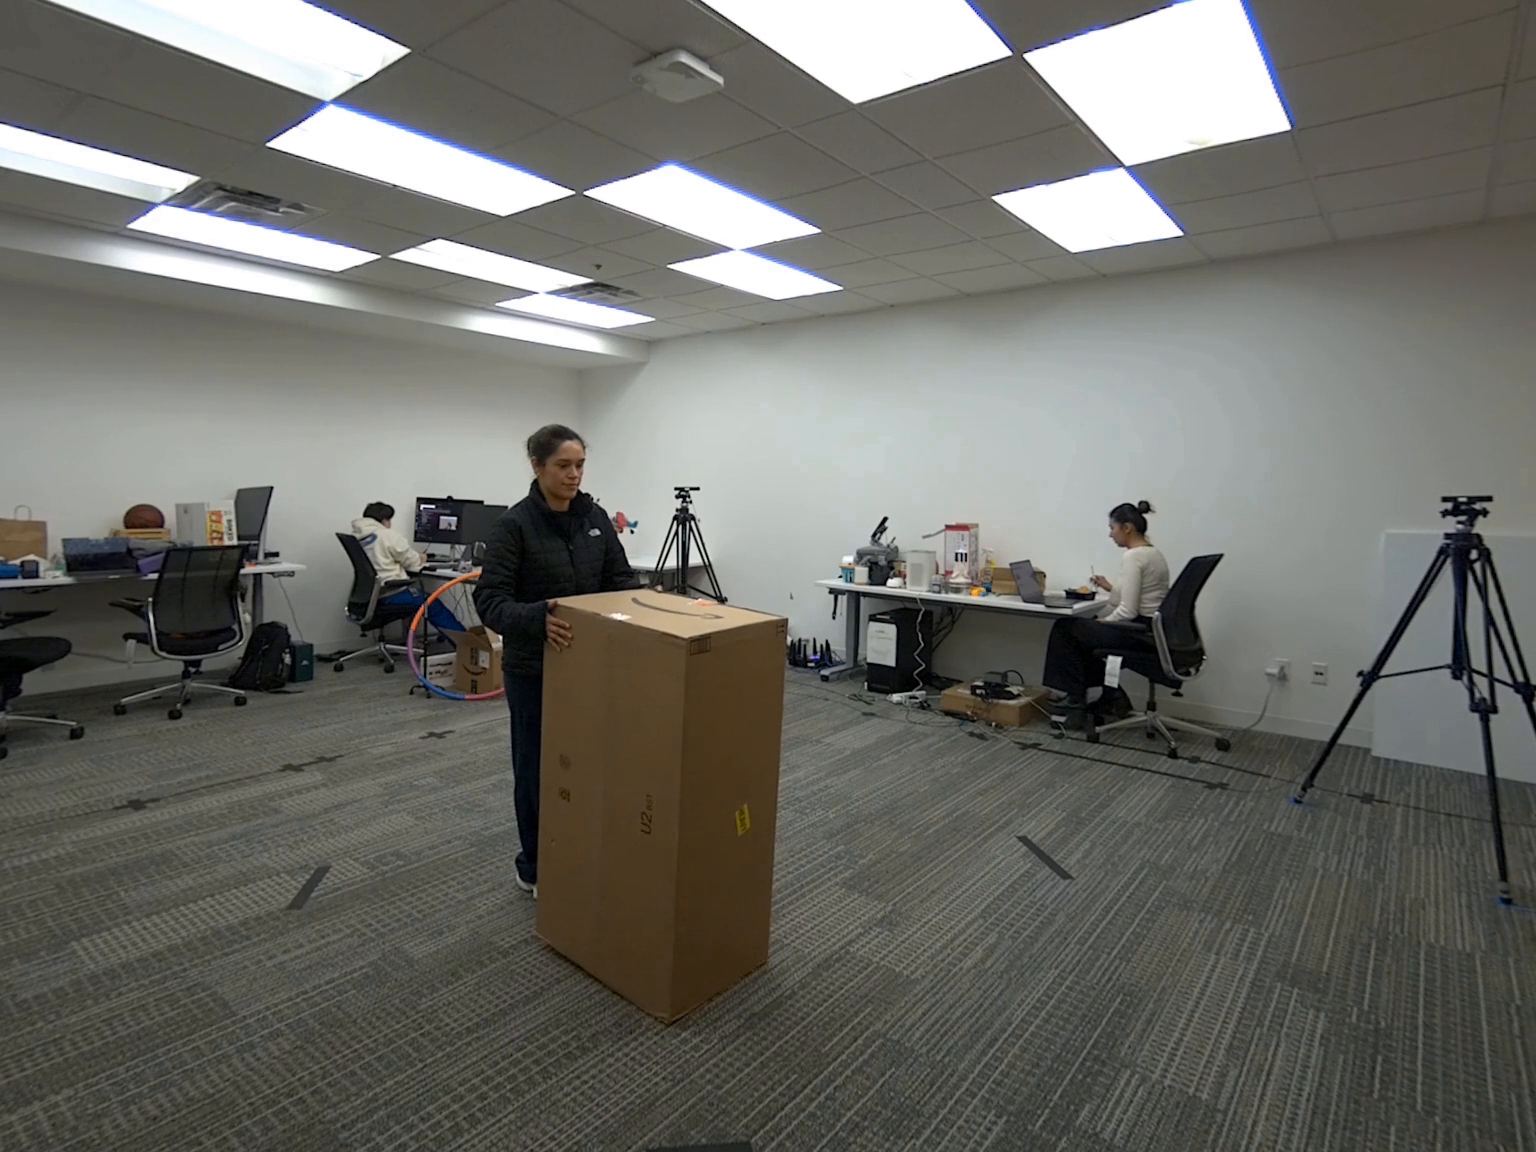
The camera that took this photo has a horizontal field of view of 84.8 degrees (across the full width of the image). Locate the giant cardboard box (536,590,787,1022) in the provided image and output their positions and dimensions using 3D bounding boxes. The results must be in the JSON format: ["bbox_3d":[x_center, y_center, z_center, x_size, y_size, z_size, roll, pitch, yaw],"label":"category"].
[{"bbox_3d":[-0.313,0.603,2.499,0.598,1.020,0.414,9,8,40],"label":"giant cardboard box"}]
